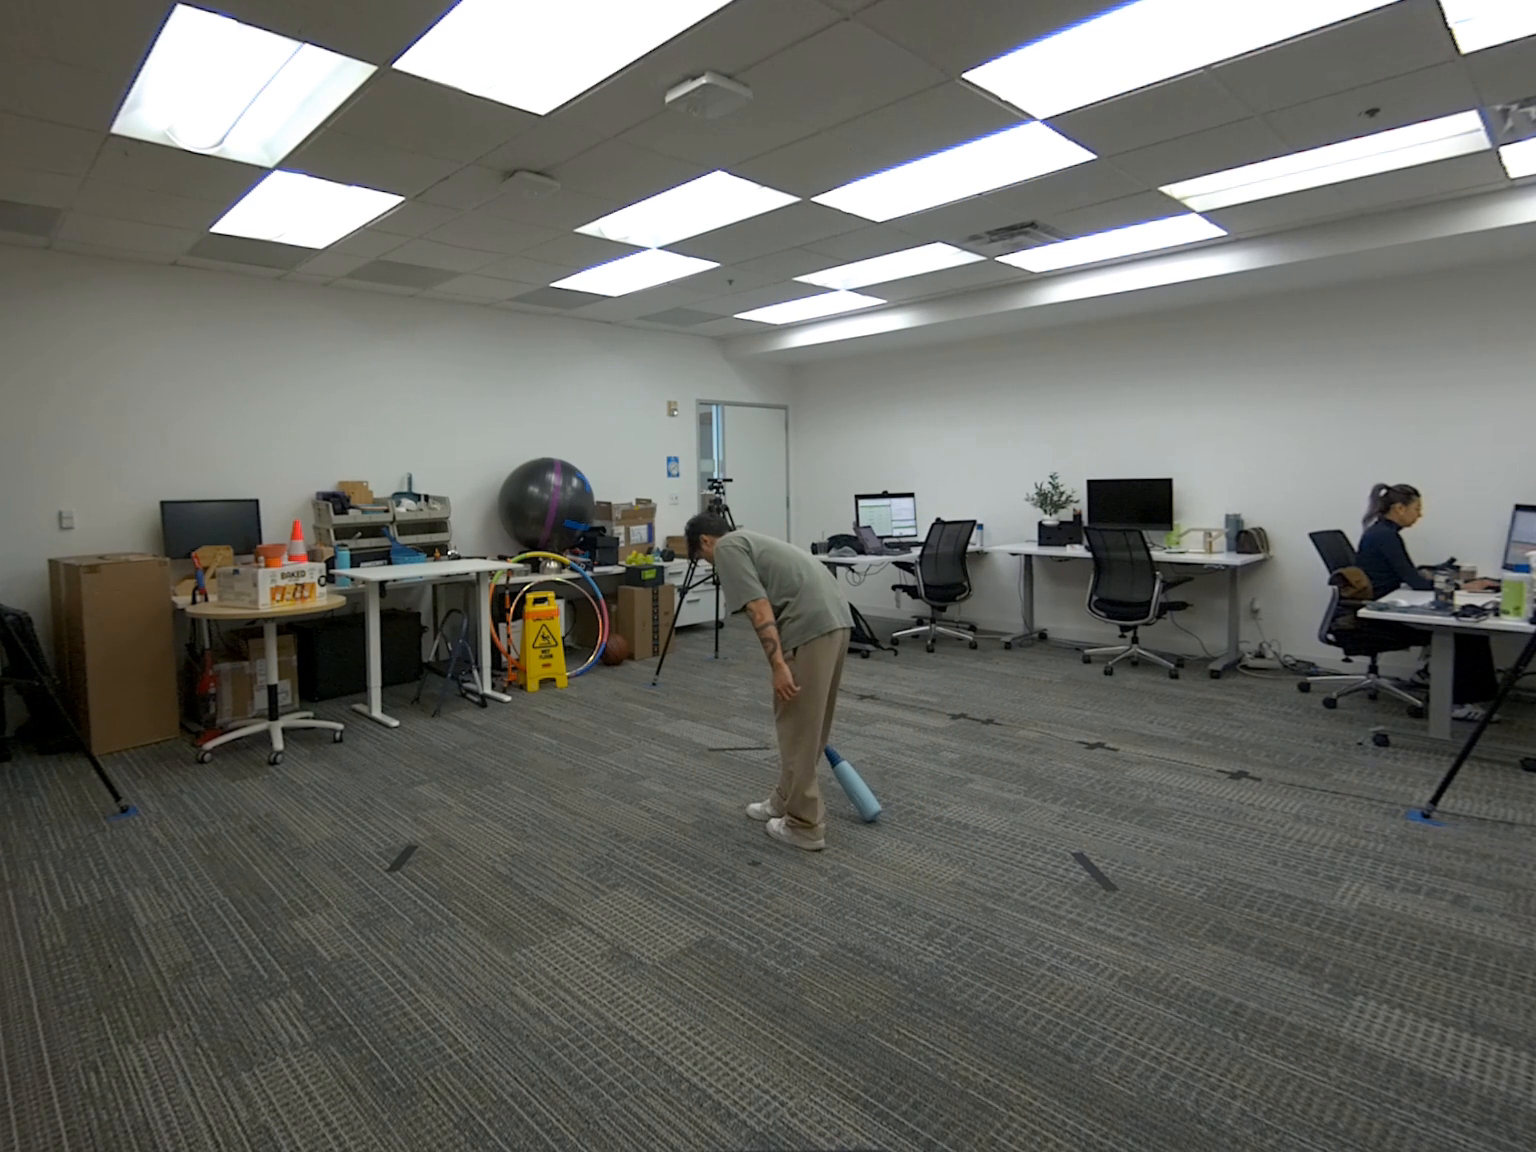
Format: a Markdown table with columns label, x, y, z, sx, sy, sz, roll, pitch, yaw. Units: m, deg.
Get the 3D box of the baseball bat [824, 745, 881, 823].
| label | x | y | z | sx | sy | sz | roll | pitch | yaw |
| --- | --- | --- | --- | --- | --- | --- | --- | --- | --- |
| baseball bat | 0.289 | 0.781 | 3.591 | 0.087 | 0.088 | 0.562 | -5 | 46 | -42 |
